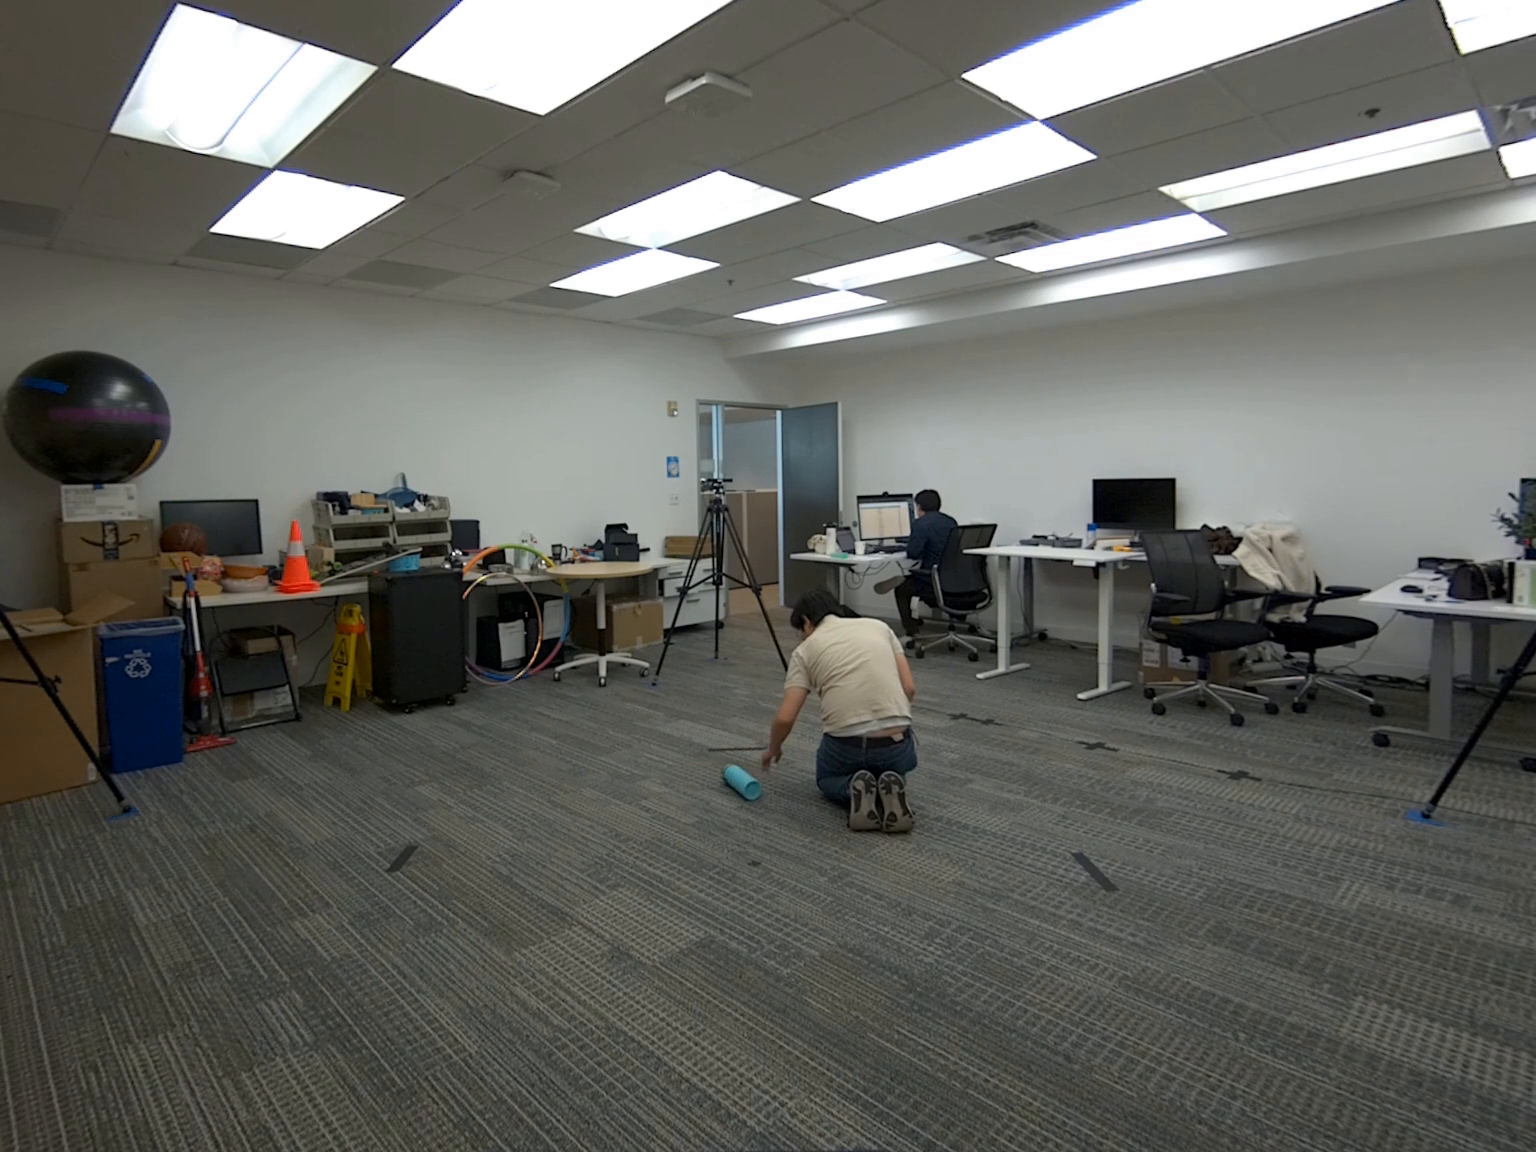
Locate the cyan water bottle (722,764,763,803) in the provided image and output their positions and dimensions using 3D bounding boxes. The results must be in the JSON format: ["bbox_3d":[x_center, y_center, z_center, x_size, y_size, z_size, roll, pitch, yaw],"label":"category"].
[{"bbox_3d":[-0.126,0.917,3.844,0.090,0.092,0.290,-3,6,-24],"label":"cyan water bottle"}]
